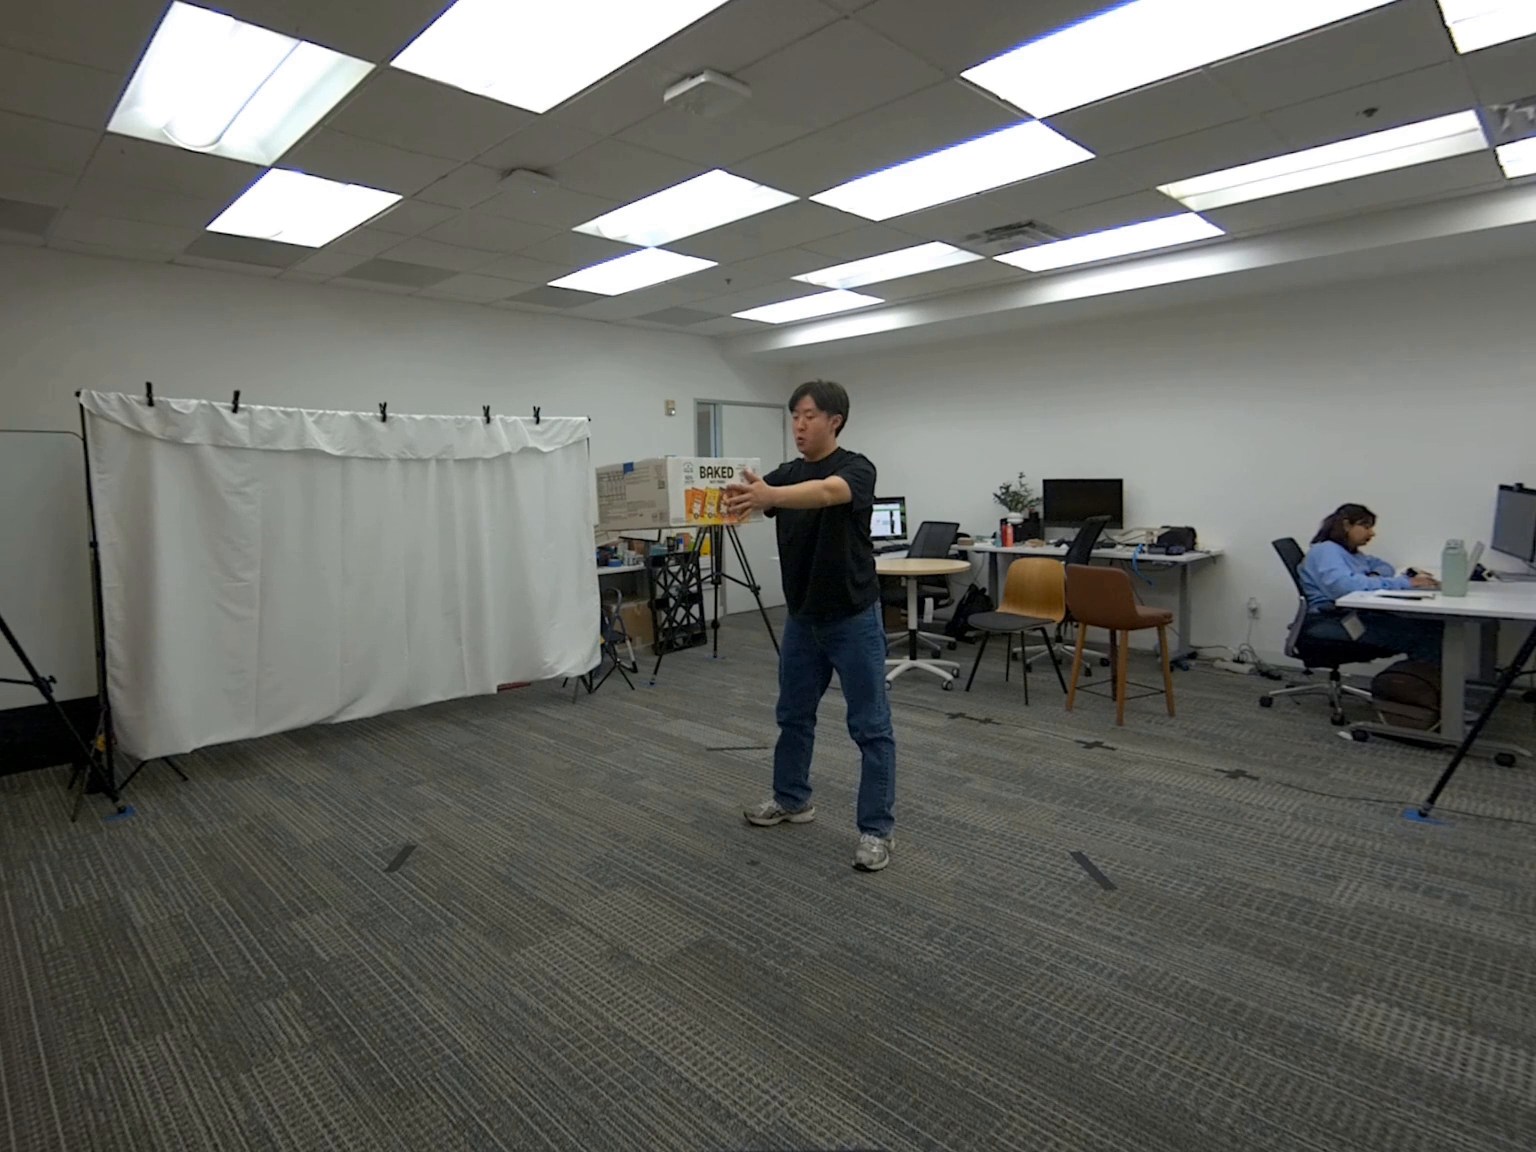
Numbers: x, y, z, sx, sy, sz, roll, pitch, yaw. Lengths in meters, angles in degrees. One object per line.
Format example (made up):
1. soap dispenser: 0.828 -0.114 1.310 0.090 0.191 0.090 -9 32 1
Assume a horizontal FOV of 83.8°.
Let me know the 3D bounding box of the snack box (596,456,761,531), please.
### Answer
1. snack box: -0.276 -0.260 2.692 0.350 0.205 0.394 -1 4 42
